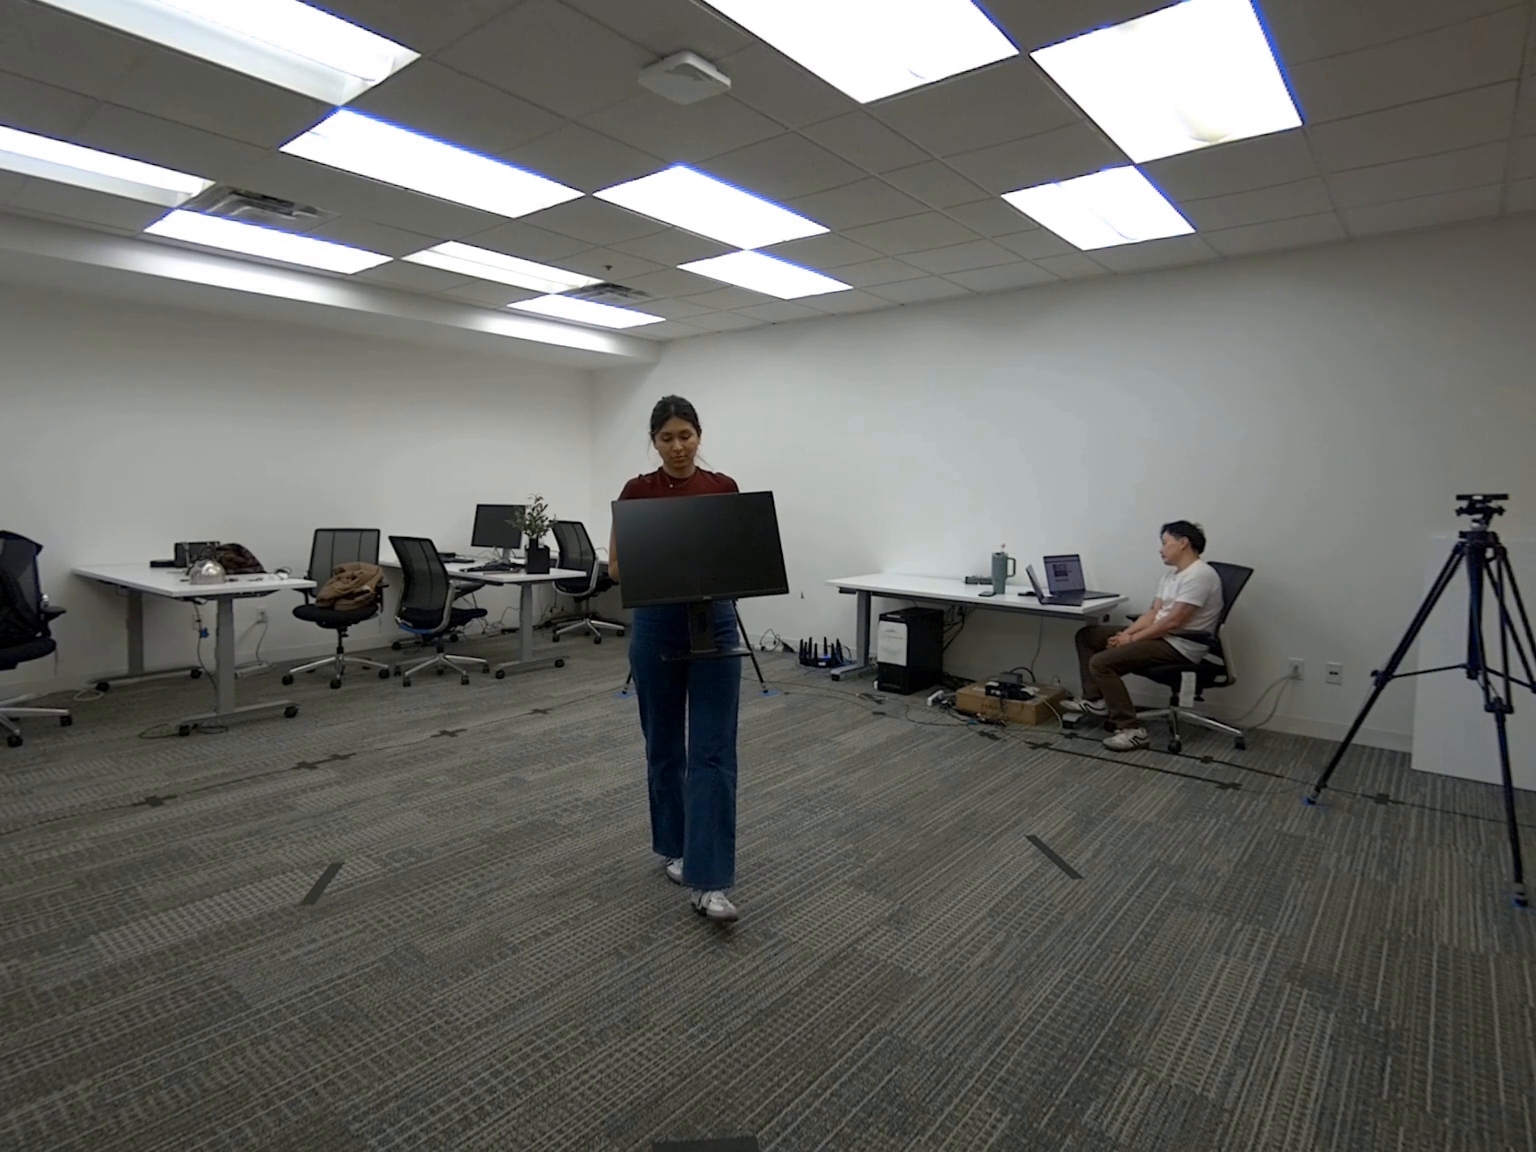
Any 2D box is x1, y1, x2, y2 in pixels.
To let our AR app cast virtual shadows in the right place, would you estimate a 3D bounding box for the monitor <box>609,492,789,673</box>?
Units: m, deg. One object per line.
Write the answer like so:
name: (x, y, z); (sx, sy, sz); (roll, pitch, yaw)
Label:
monitor: (-0.232, 0.001, 2.739); (0.532, 0.524, 0.189); (-5, -3, -12)
